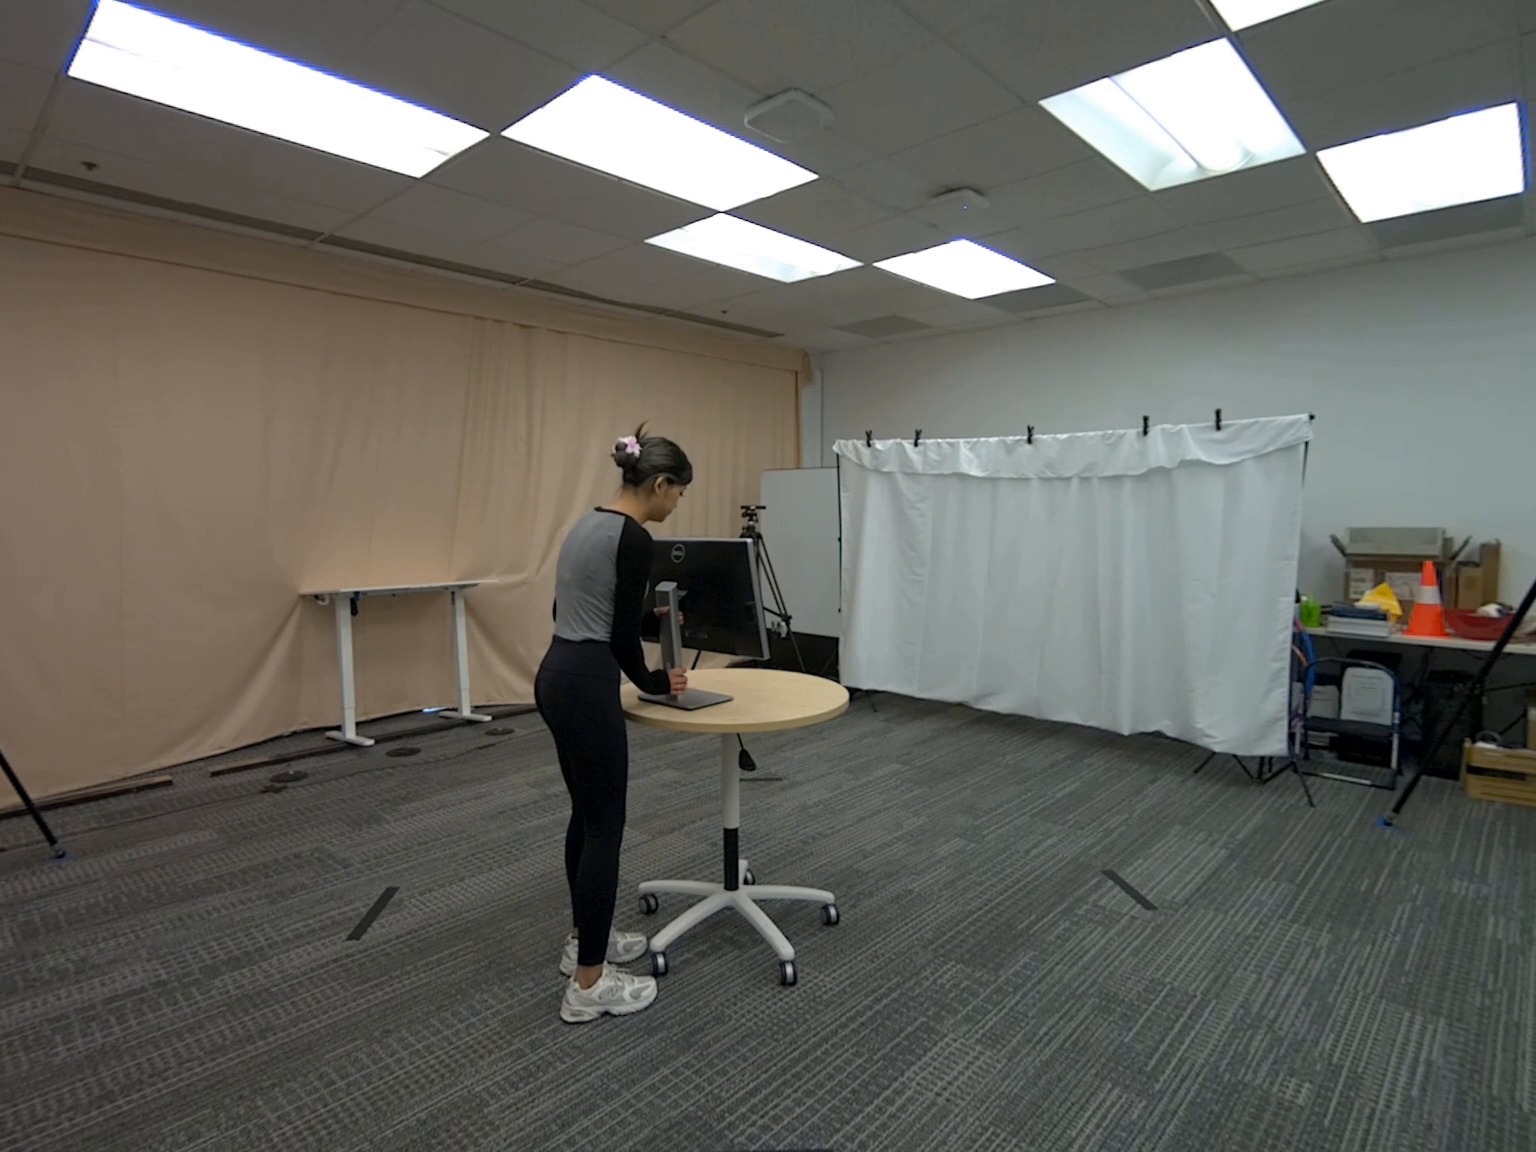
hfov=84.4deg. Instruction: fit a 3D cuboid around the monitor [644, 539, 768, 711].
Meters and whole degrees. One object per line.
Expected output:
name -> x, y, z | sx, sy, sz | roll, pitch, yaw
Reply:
monitor -> -0.261, 0.144, 2.618 | 0.557, 0.522, 0.181 | 2, 1, 40
